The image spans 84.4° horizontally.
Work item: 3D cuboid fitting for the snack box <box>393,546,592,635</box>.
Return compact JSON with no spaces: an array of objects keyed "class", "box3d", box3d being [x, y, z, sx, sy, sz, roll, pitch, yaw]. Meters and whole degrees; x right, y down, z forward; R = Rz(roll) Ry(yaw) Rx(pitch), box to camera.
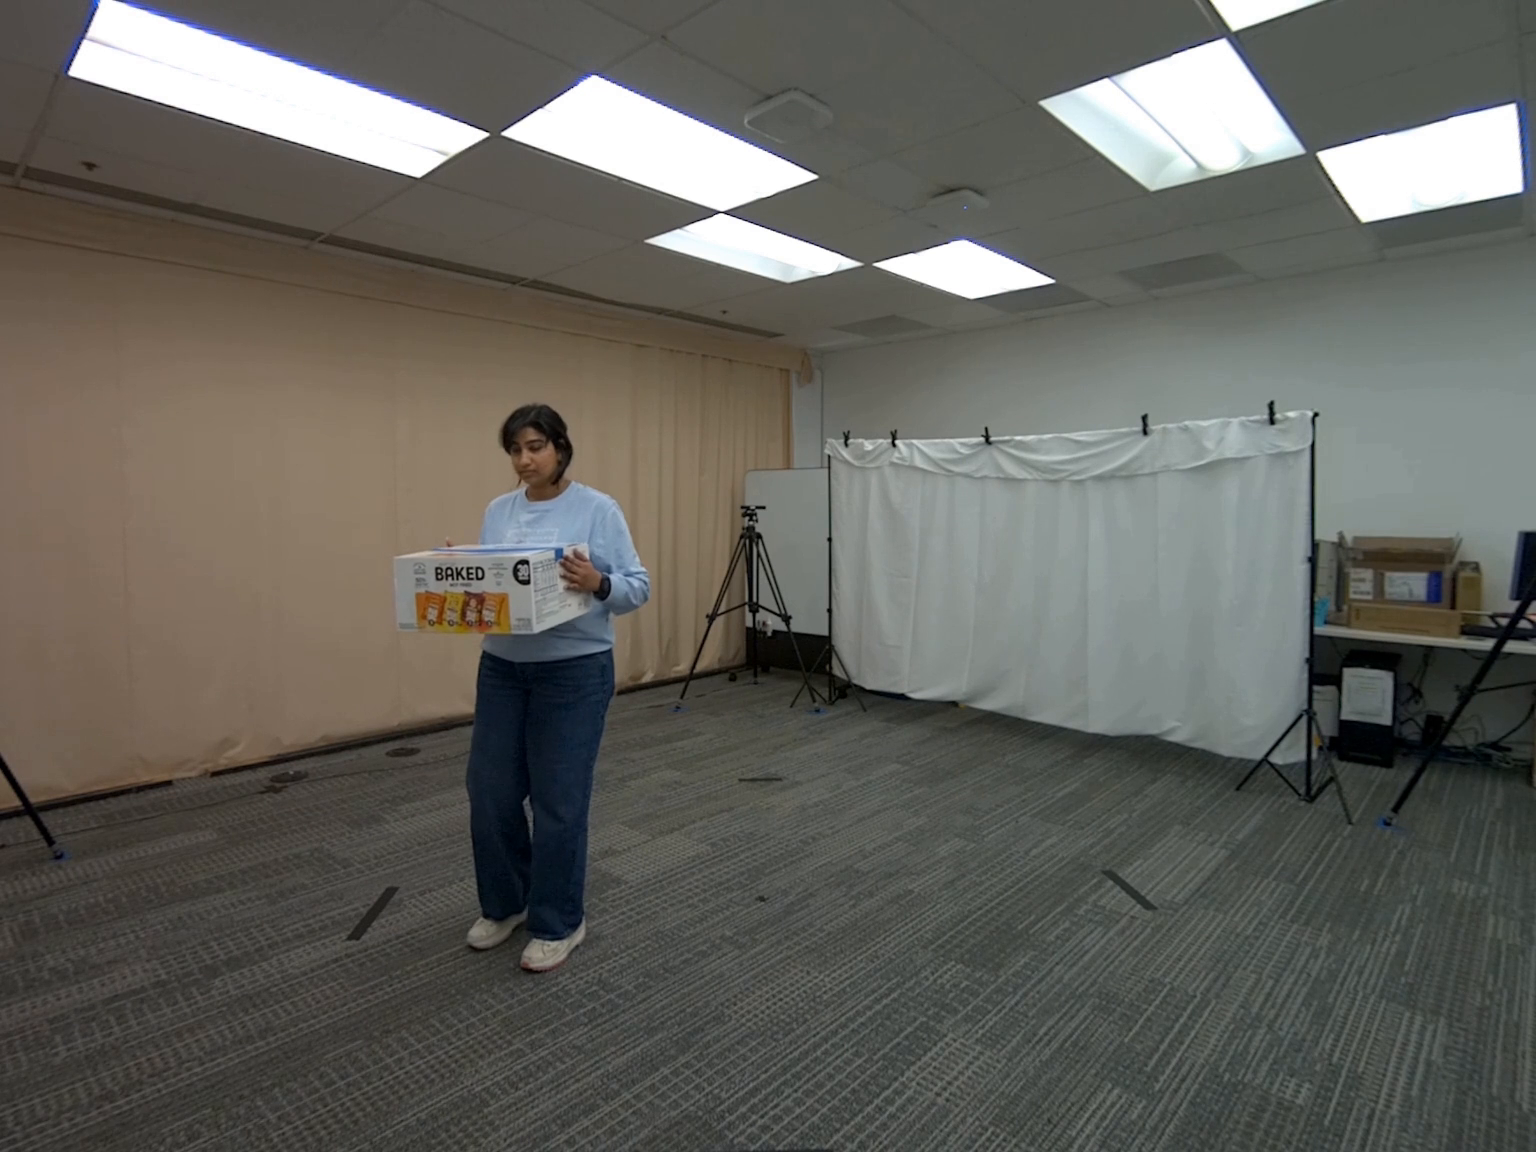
[{"class":"snack box","box3d":[-0.745,0.026,2.320,0.412,0.205,0.336,0,7,15]}]
